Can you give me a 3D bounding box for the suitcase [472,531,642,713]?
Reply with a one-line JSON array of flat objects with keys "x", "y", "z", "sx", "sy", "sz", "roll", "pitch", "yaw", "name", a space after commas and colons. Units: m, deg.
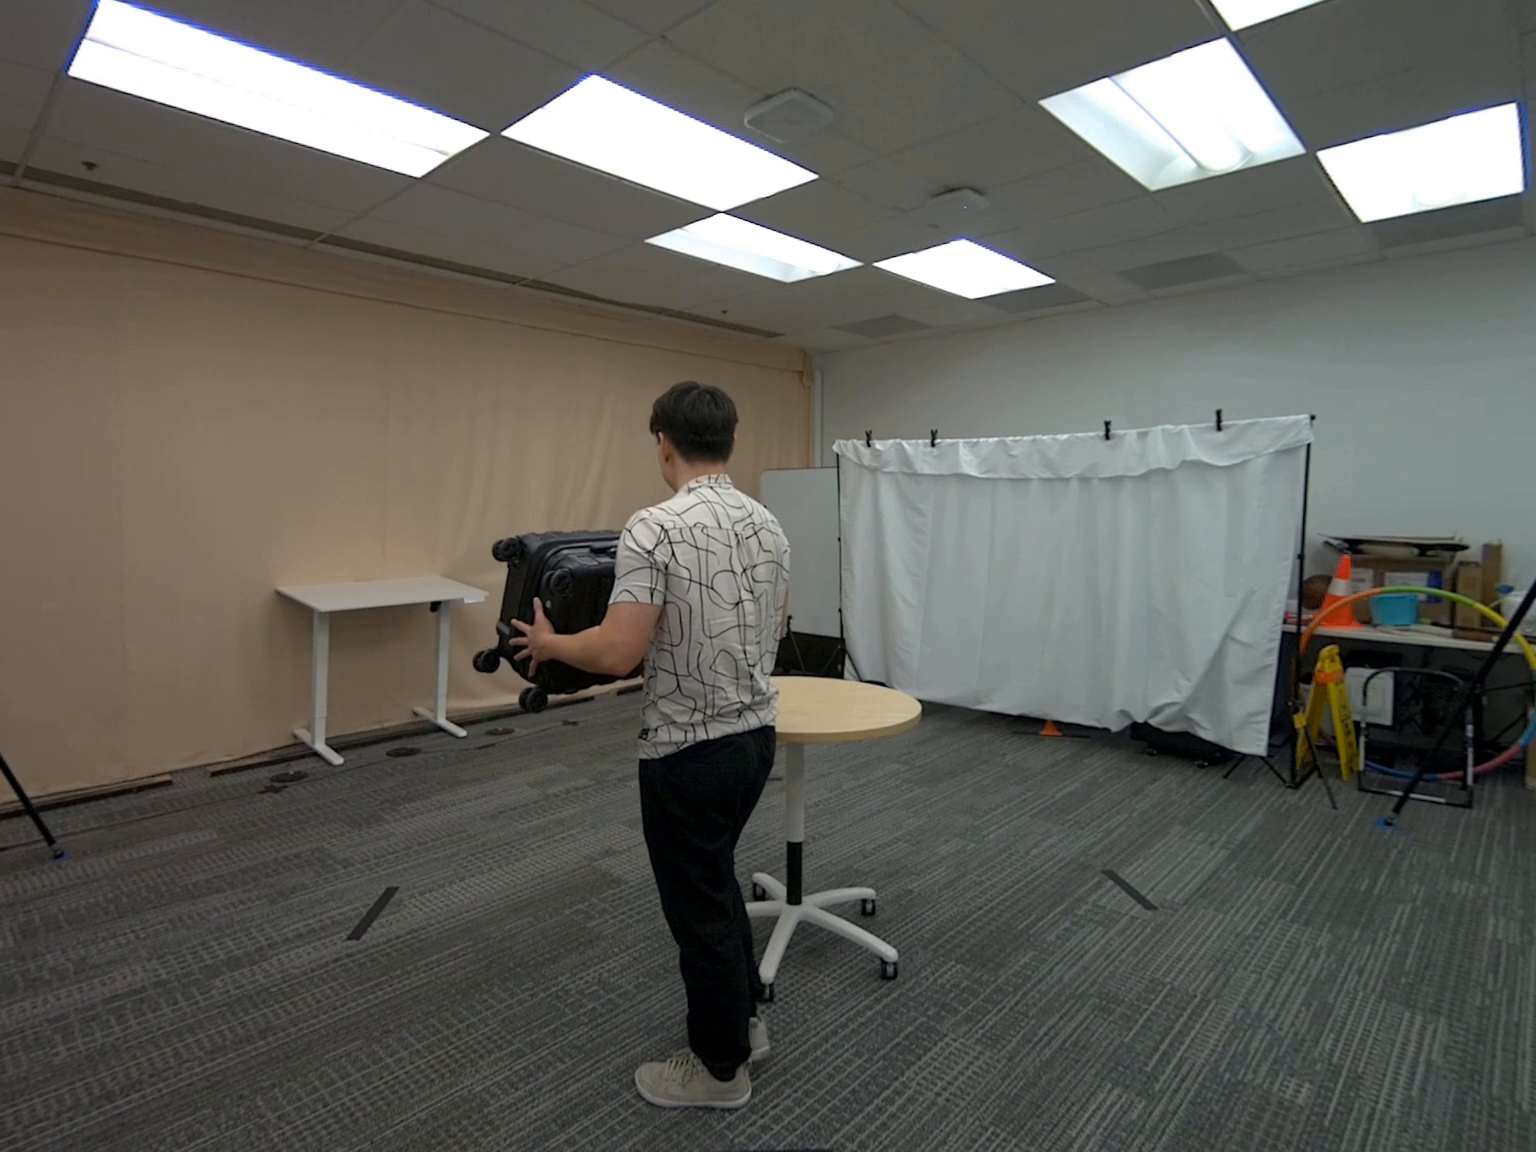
[{"x": -0.419, "y": 0.073, "z": 2.138, "sx": 0.257, "sy": 0.373, "sz": 0.533, "roll": 25, "pitch": 20, "yaw": 37, "name": "suitcase"}]
